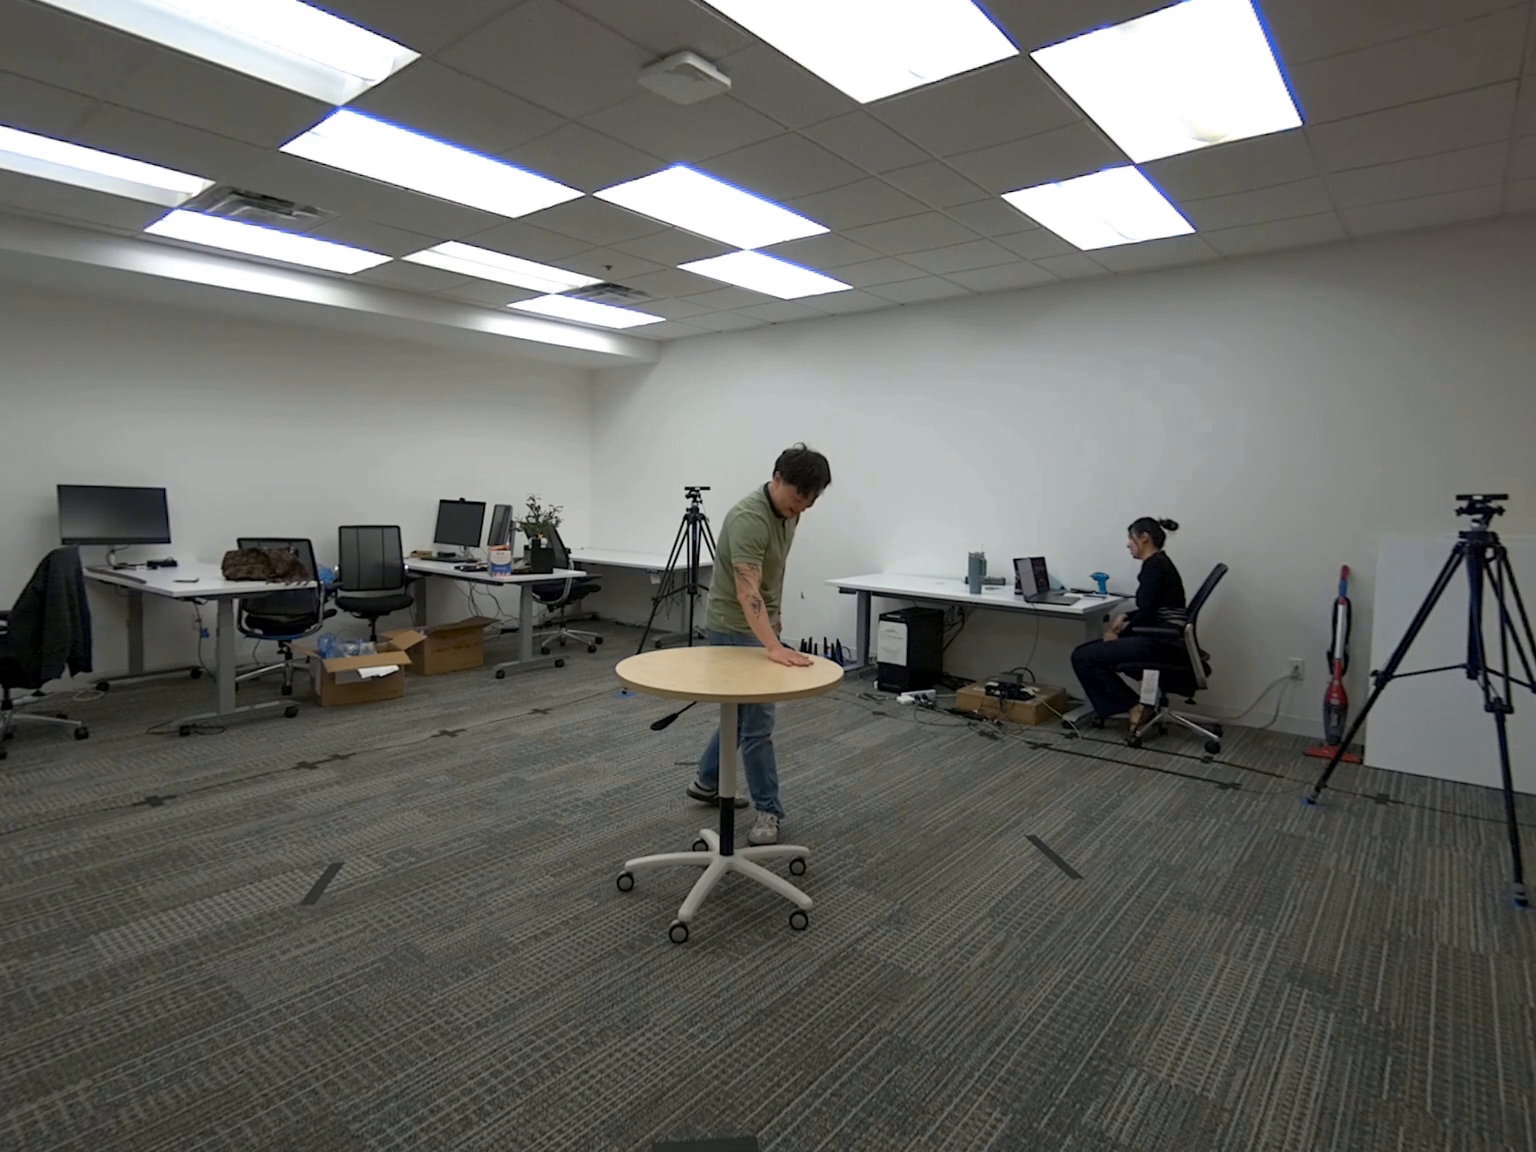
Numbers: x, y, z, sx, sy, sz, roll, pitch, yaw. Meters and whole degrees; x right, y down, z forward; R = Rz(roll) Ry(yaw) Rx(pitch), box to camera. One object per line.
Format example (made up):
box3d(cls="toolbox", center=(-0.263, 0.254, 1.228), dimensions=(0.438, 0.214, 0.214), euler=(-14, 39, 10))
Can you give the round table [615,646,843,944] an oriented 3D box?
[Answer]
box3d(cls="round table", center=(-0.148, 0.700, 2.892), dimensions=(0.763, 0.791, 0.768), euler=(1, 4, -2))
